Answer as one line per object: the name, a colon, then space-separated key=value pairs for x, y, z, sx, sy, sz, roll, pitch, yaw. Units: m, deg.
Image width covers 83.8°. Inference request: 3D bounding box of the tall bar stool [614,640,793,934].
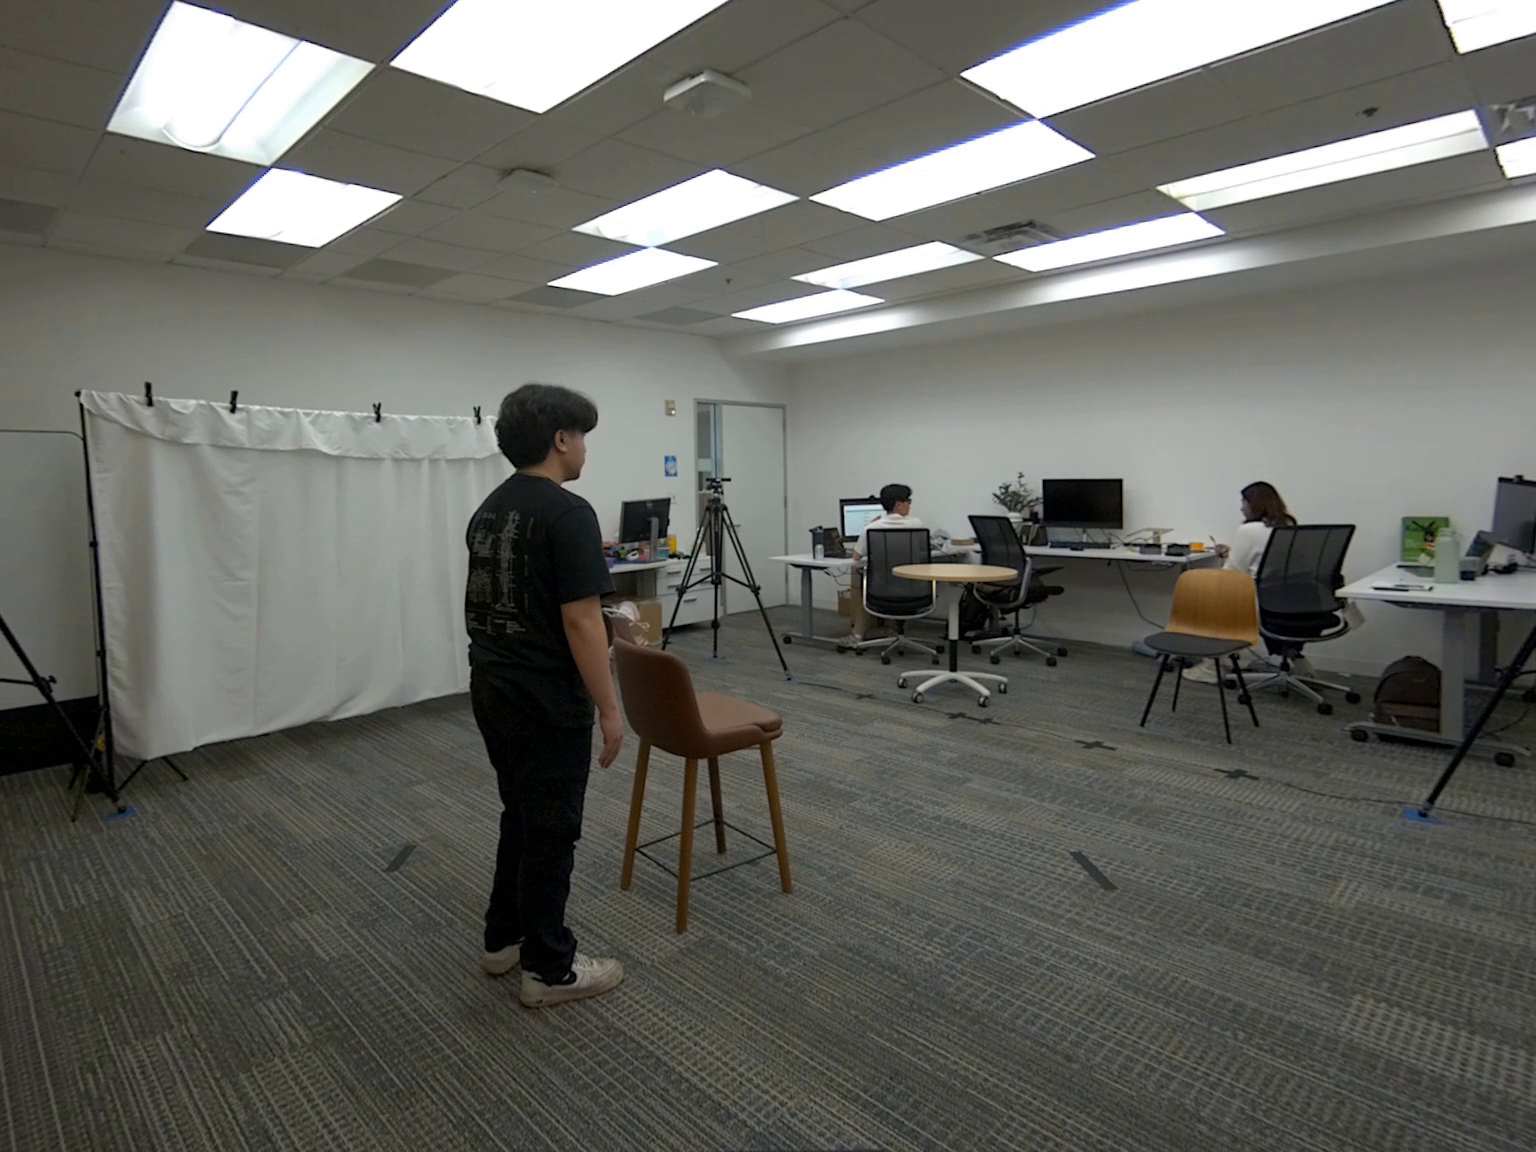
tall bar stool: x=-0.227 y=0.637 z=2.878 sx=0.456 sy=0.885 sz=0.470 roll=-6 pitch=7 yaw=-37
